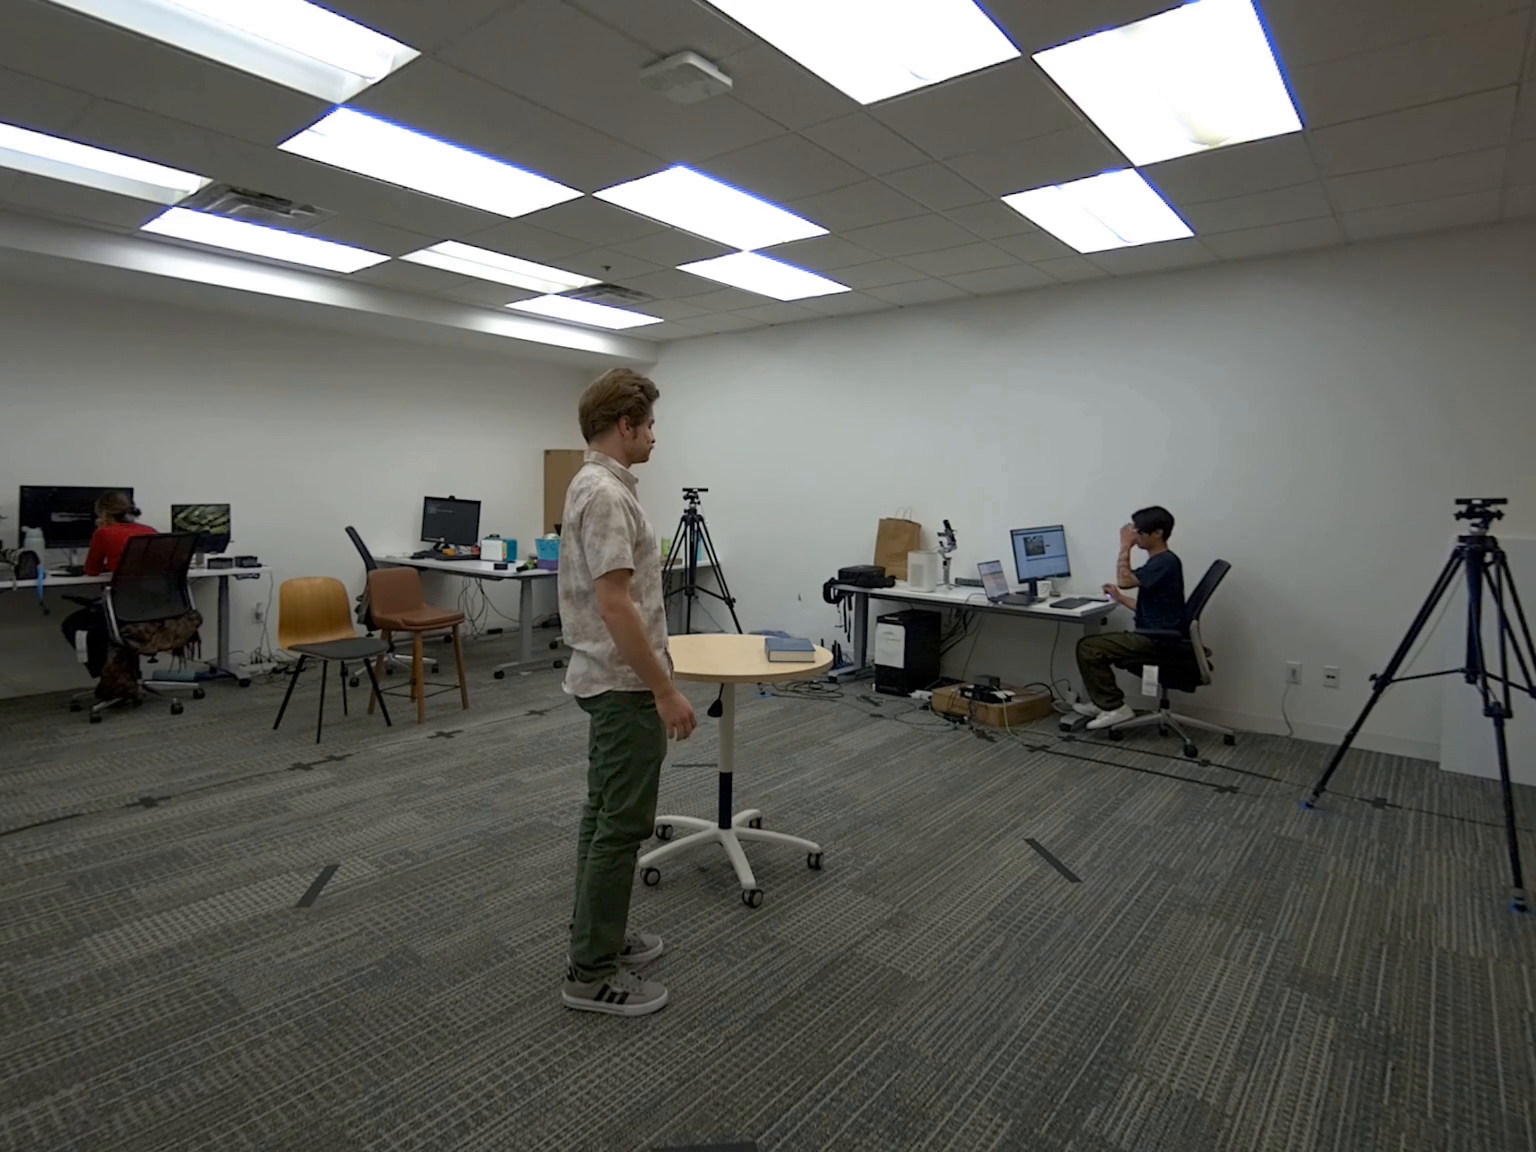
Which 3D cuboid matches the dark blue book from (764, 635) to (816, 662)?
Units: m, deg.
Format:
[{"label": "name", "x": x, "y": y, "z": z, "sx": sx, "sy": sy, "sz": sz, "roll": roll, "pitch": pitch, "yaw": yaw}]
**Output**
[{"label": "dark blue book", "x": 0.074, "y": 0.260, "z": 3.061, "sx": 0.163, "sy": 0.045, "sz": 0.246, "roll": 1, "pitch": 5, "yaw": -3}]
